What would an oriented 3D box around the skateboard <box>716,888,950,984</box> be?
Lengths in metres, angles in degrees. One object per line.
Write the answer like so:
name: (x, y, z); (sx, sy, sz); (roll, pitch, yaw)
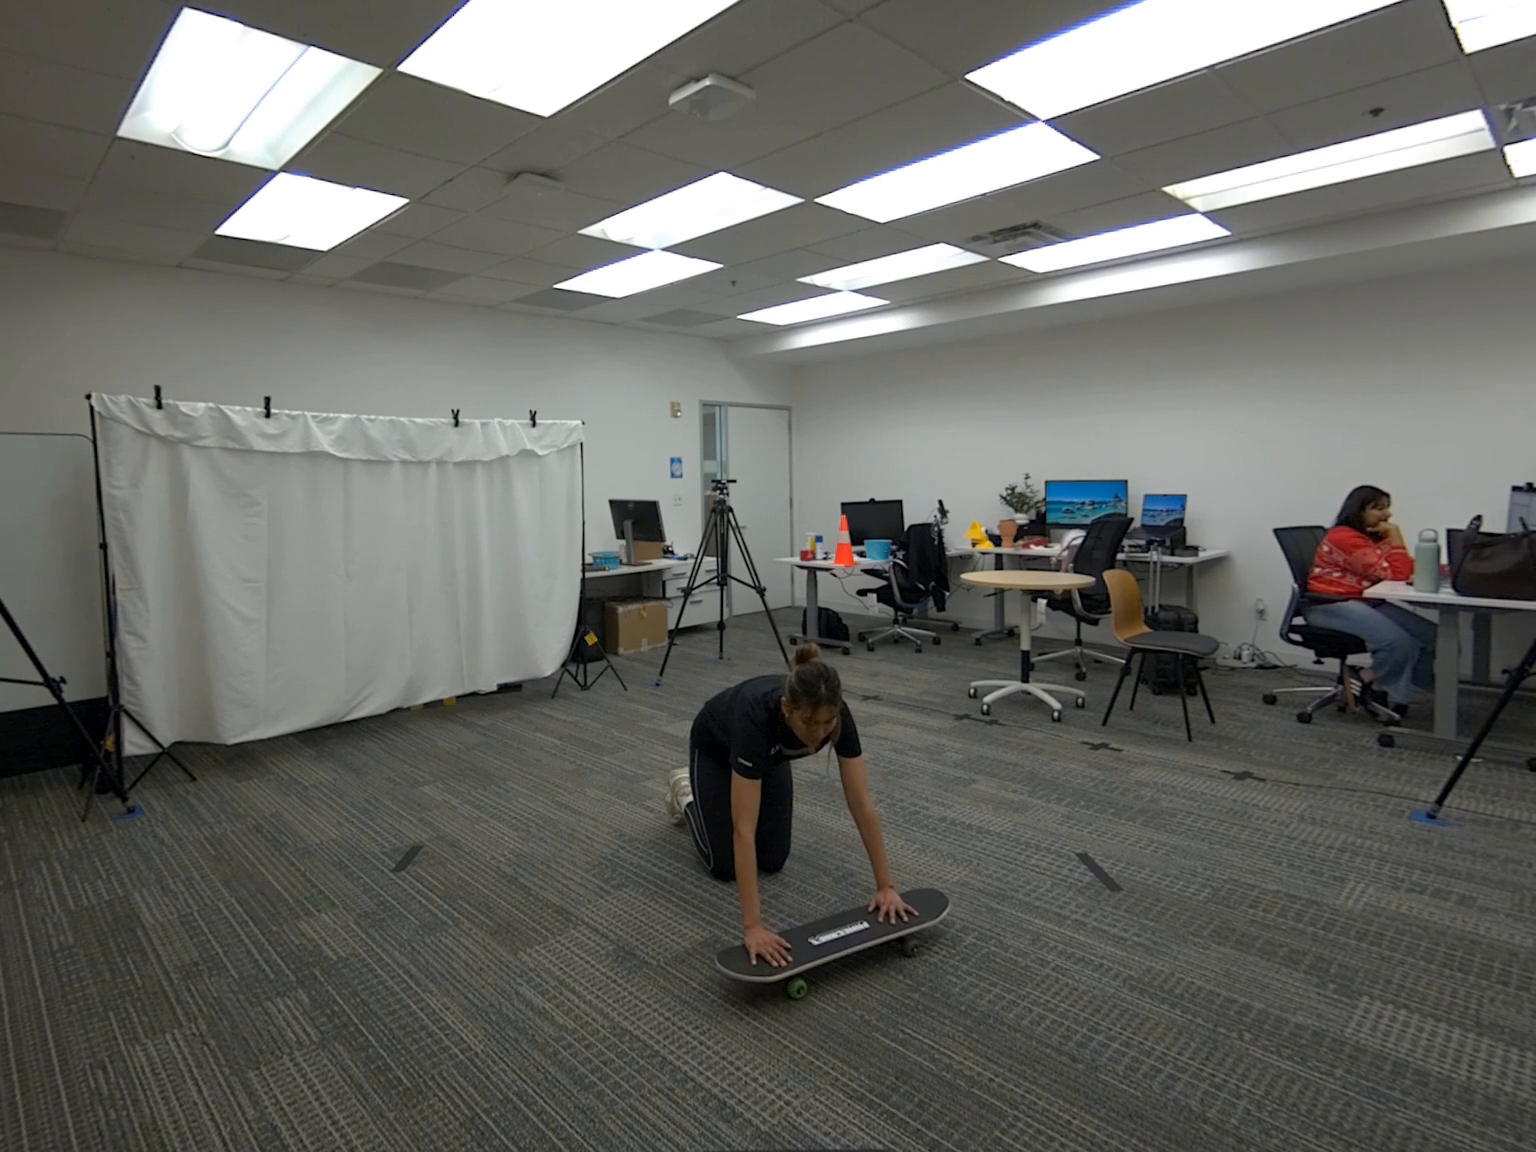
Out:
skateboard: (0.208, 1.061, 2.466); (0.767, 0.110, 0.199); (-5, 6, -30)
